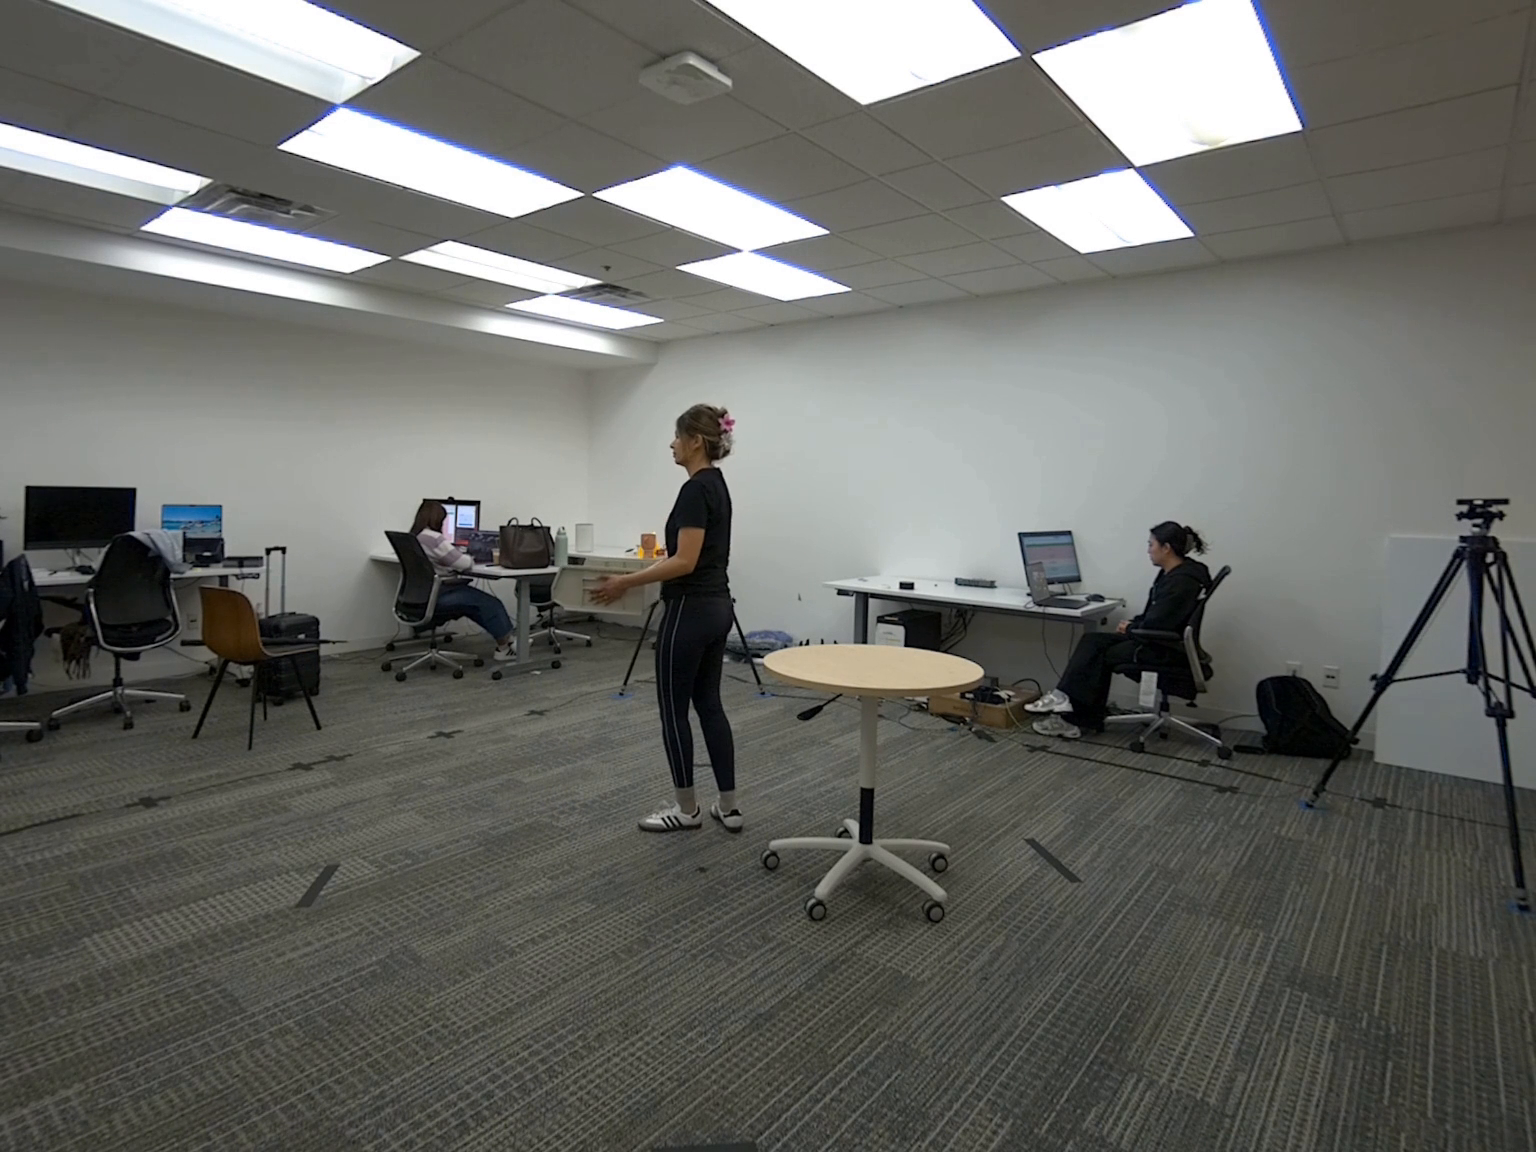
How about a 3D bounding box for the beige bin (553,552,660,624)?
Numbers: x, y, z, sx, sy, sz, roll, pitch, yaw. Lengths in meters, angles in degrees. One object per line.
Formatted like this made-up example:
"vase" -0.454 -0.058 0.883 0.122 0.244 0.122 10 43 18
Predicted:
"beige bin" -0.672 0.031 3.524 0.379 0.188 0.422 5 5 3
